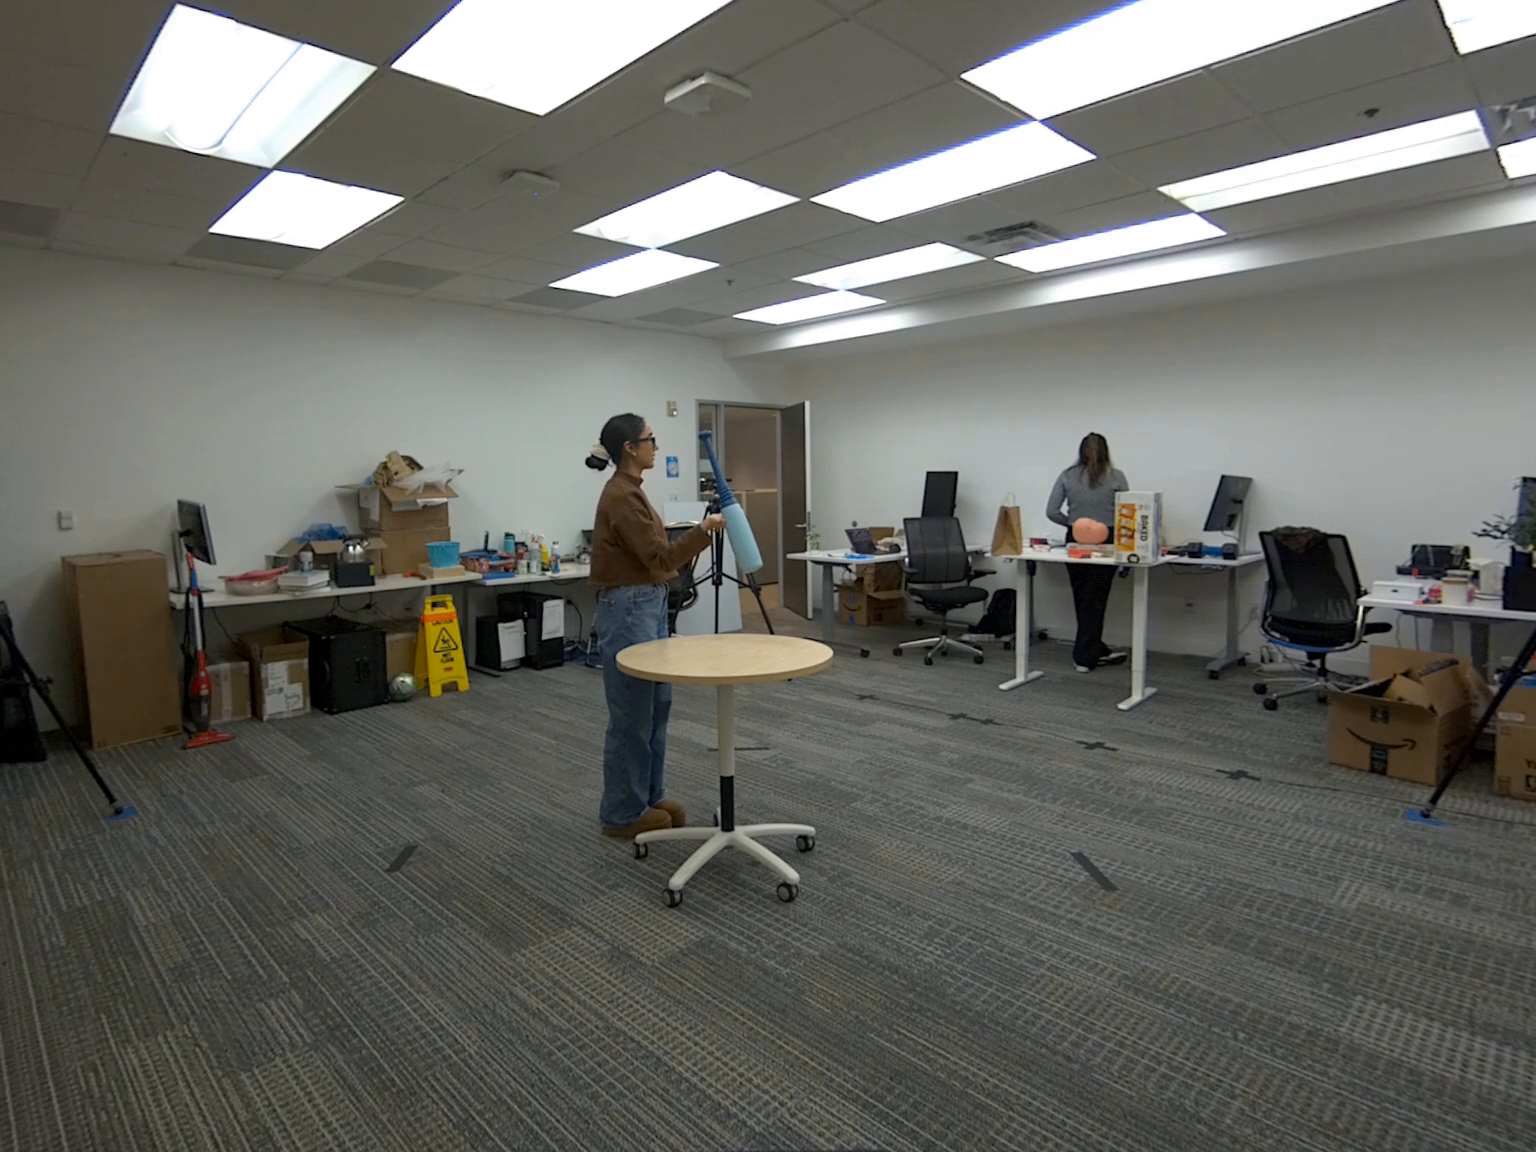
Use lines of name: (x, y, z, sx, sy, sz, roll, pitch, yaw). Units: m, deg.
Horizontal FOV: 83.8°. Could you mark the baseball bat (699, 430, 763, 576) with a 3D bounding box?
baseball bat: (-0.148, -0.272, 3.123, 0.089, 0.547, 0.088, -19, -5, -3)
